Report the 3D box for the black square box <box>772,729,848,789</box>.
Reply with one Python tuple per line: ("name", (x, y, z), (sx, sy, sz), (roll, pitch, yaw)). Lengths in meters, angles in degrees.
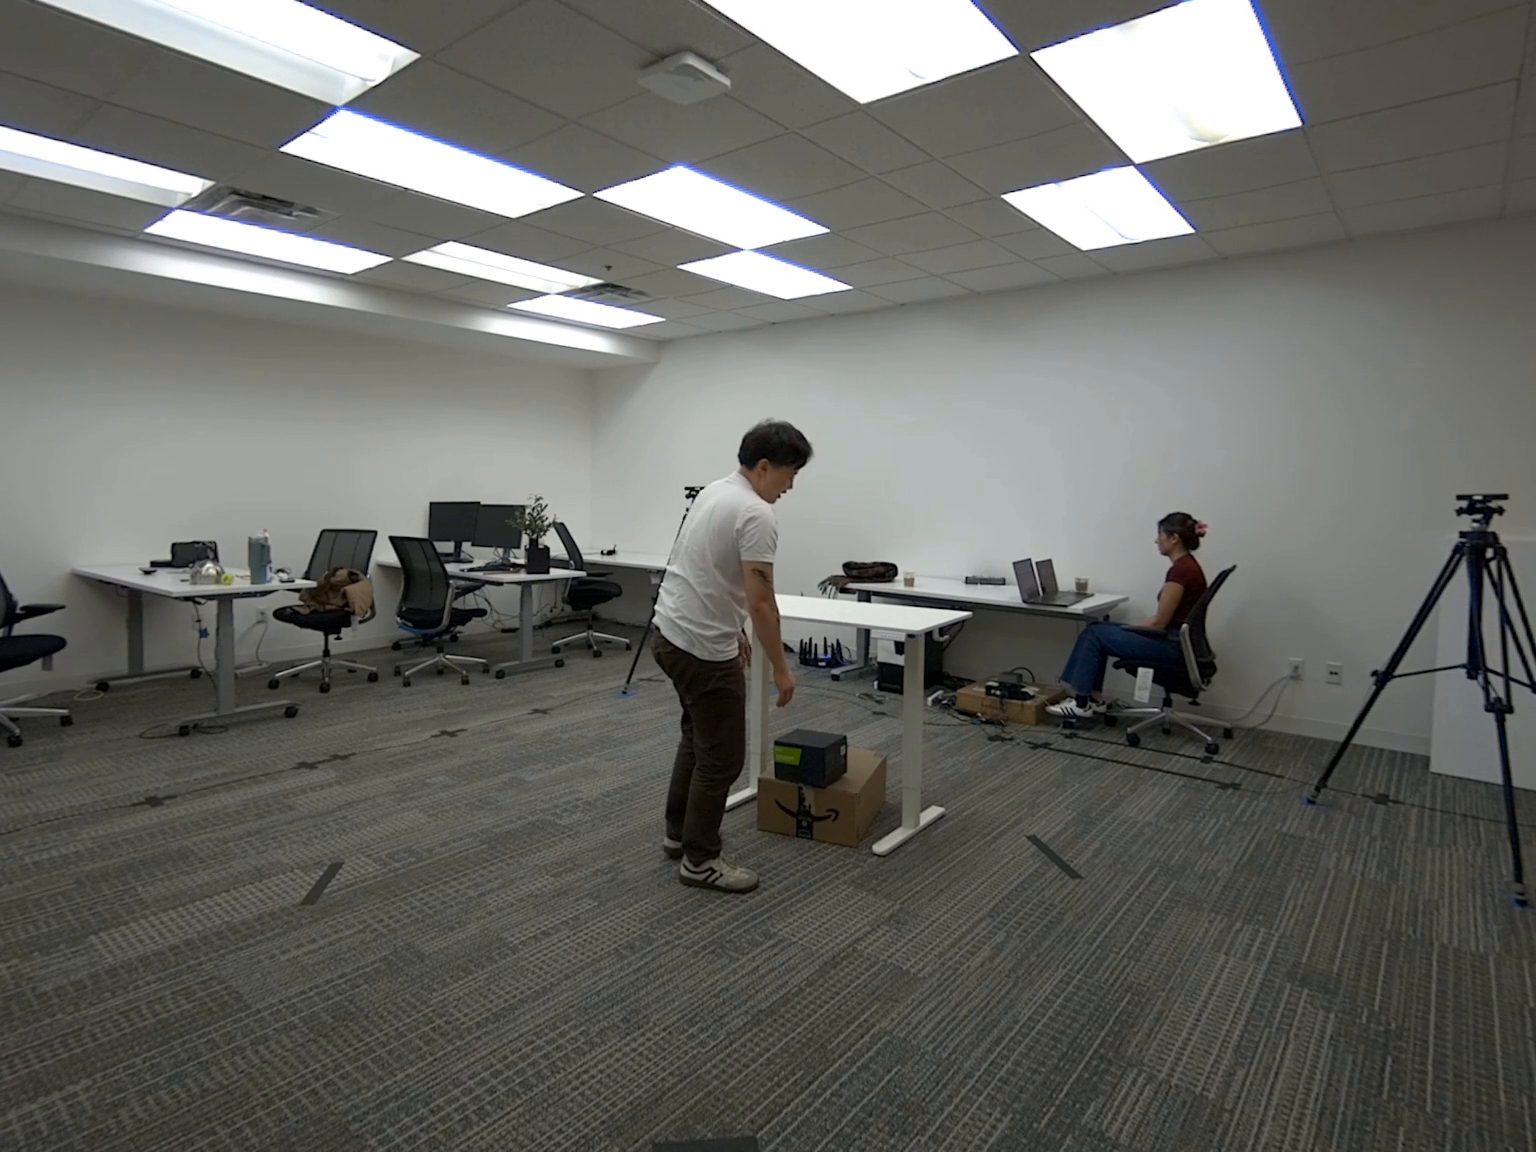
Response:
("black square box", (0.164, 0.730, 3.478), (0.234, 0.155, 0.211), (1, 4, 31))
